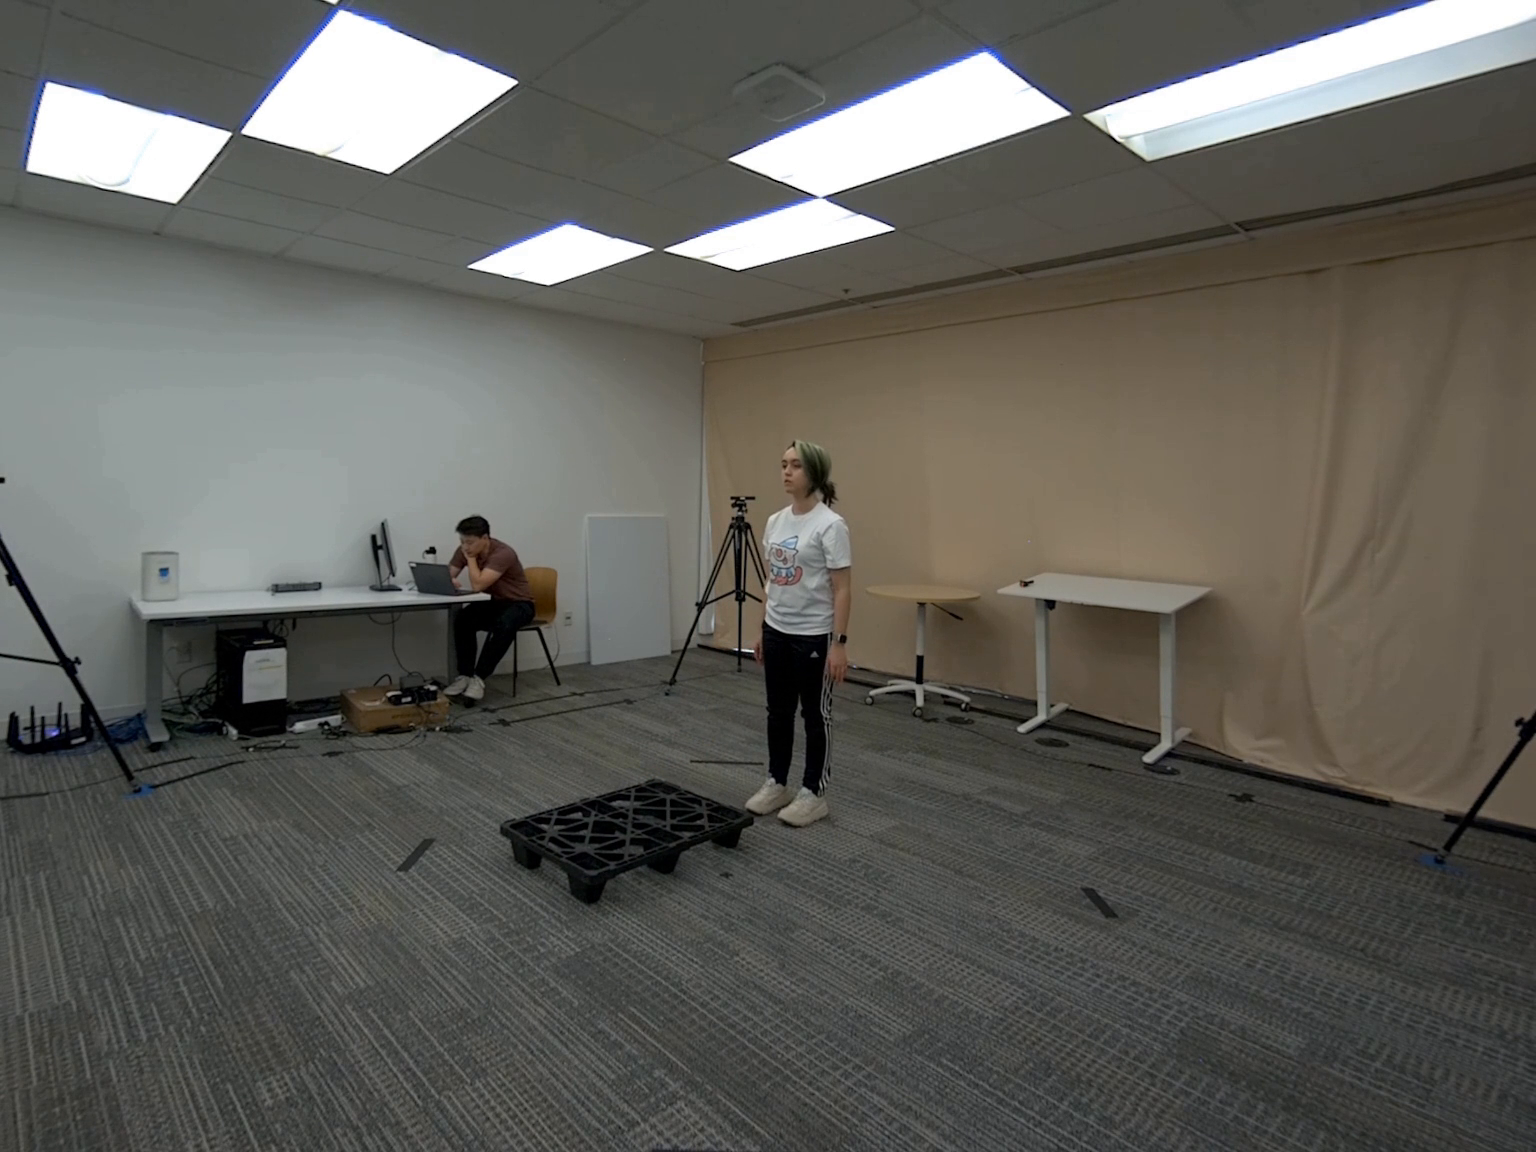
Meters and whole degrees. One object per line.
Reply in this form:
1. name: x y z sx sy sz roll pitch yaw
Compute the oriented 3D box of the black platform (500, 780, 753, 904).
1. black platform: -0.540 1.014 3.273 0.621 0.143 0.787 7 8 43
